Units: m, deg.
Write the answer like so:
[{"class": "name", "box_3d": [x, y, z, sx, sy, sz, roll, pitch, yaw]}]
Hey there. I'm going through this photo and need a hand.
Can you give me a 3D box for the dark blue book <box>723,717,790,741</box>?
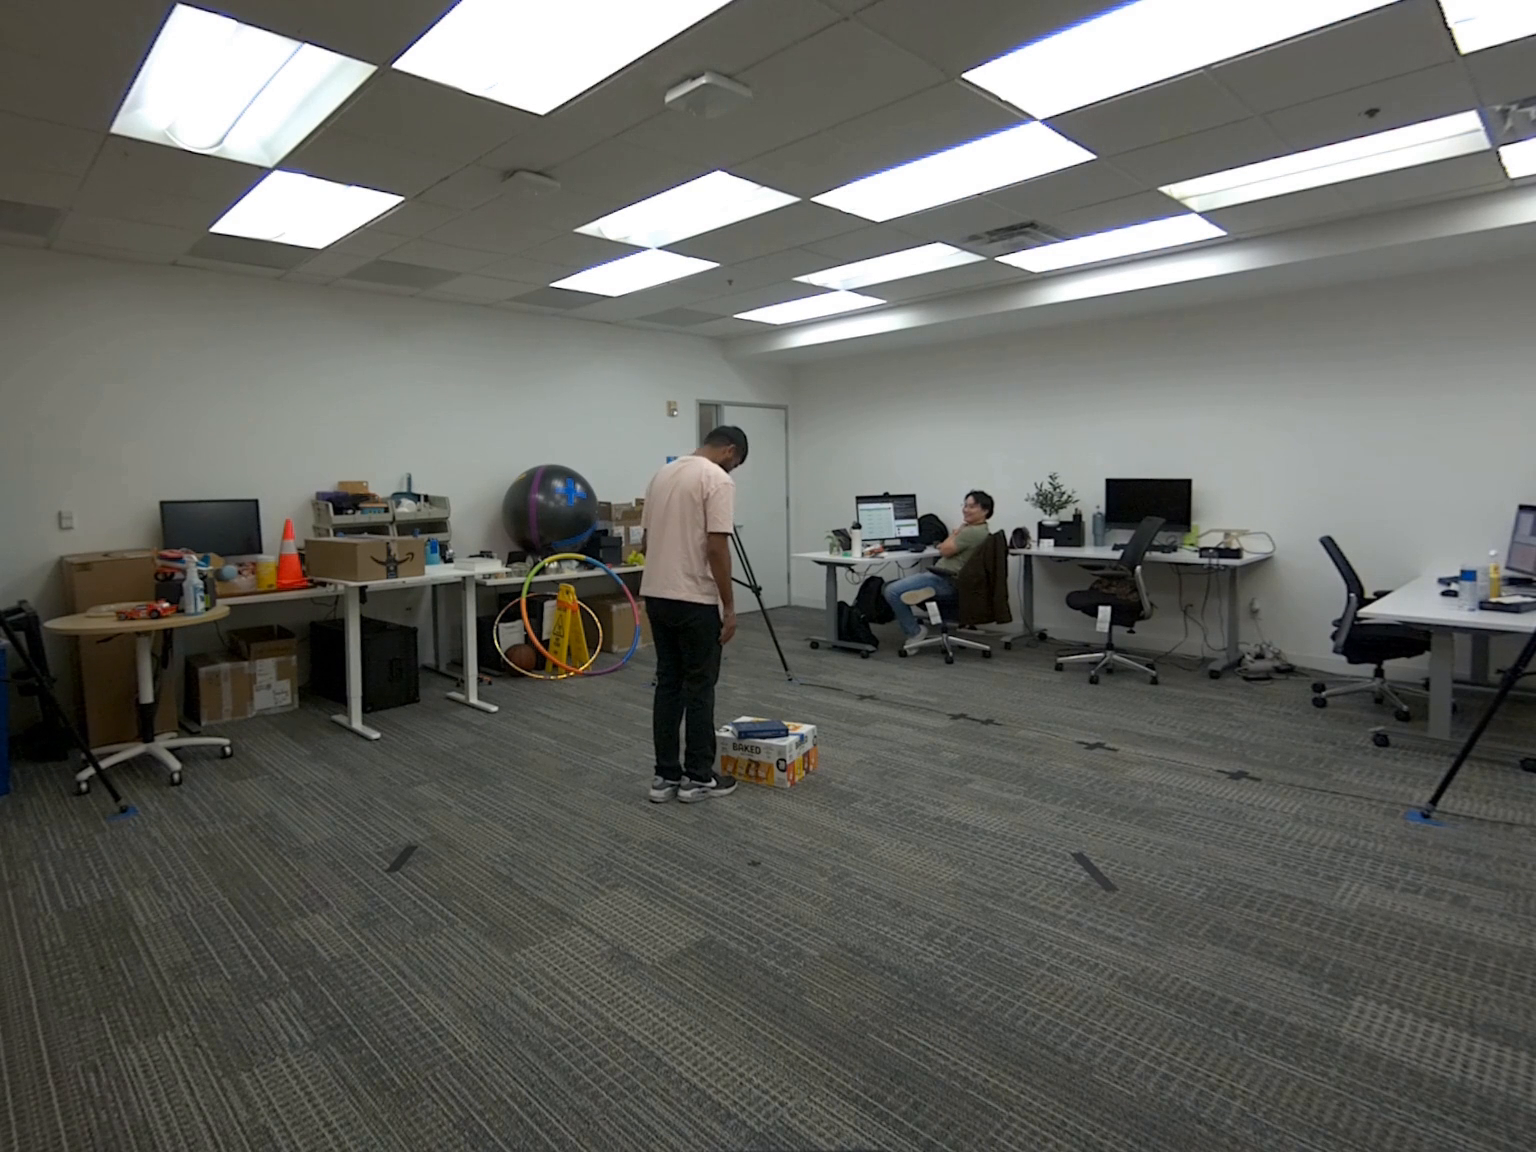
[{"class": "dark blue book", "box_3d": [-0.033, 0.726, 4.040, 0.242, 0.045, 0.166, -2, 4, -12]}]
